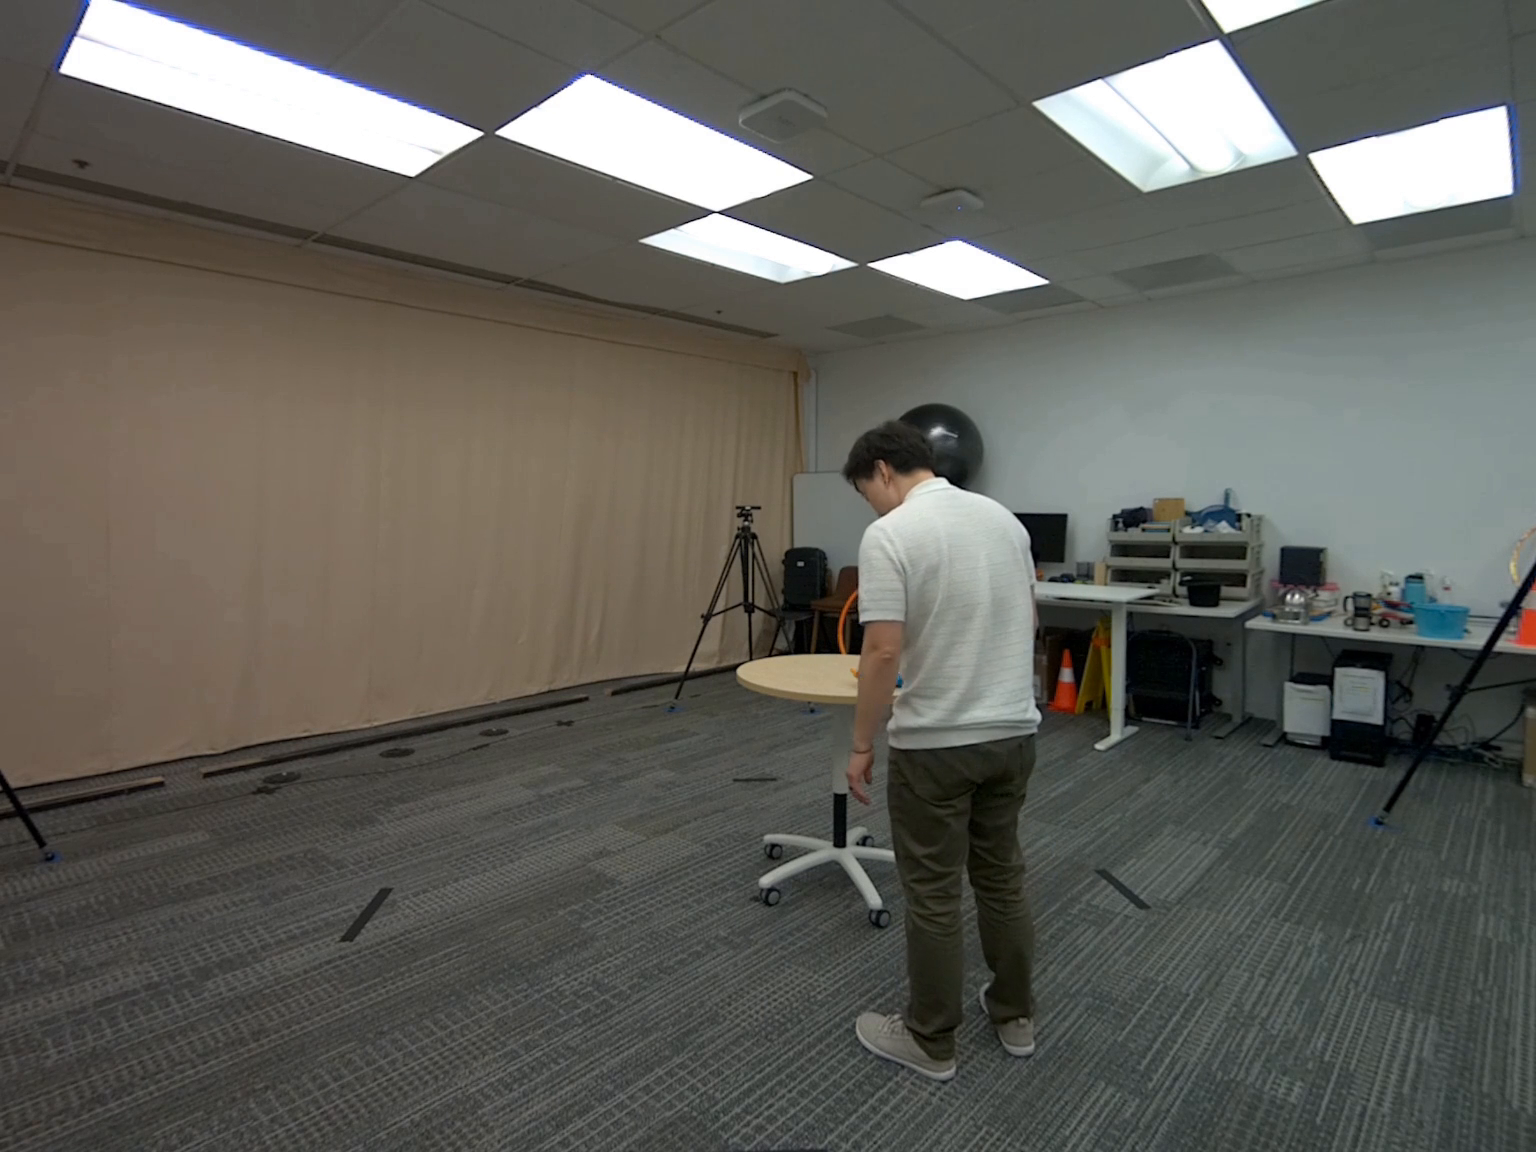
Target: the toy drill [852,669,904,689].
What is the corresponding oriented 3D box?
[{"bbox_3d":[0.365,0.341,2.835,0.142,0.061,0.175,1,9,-26],"label":"toy drill"}]
